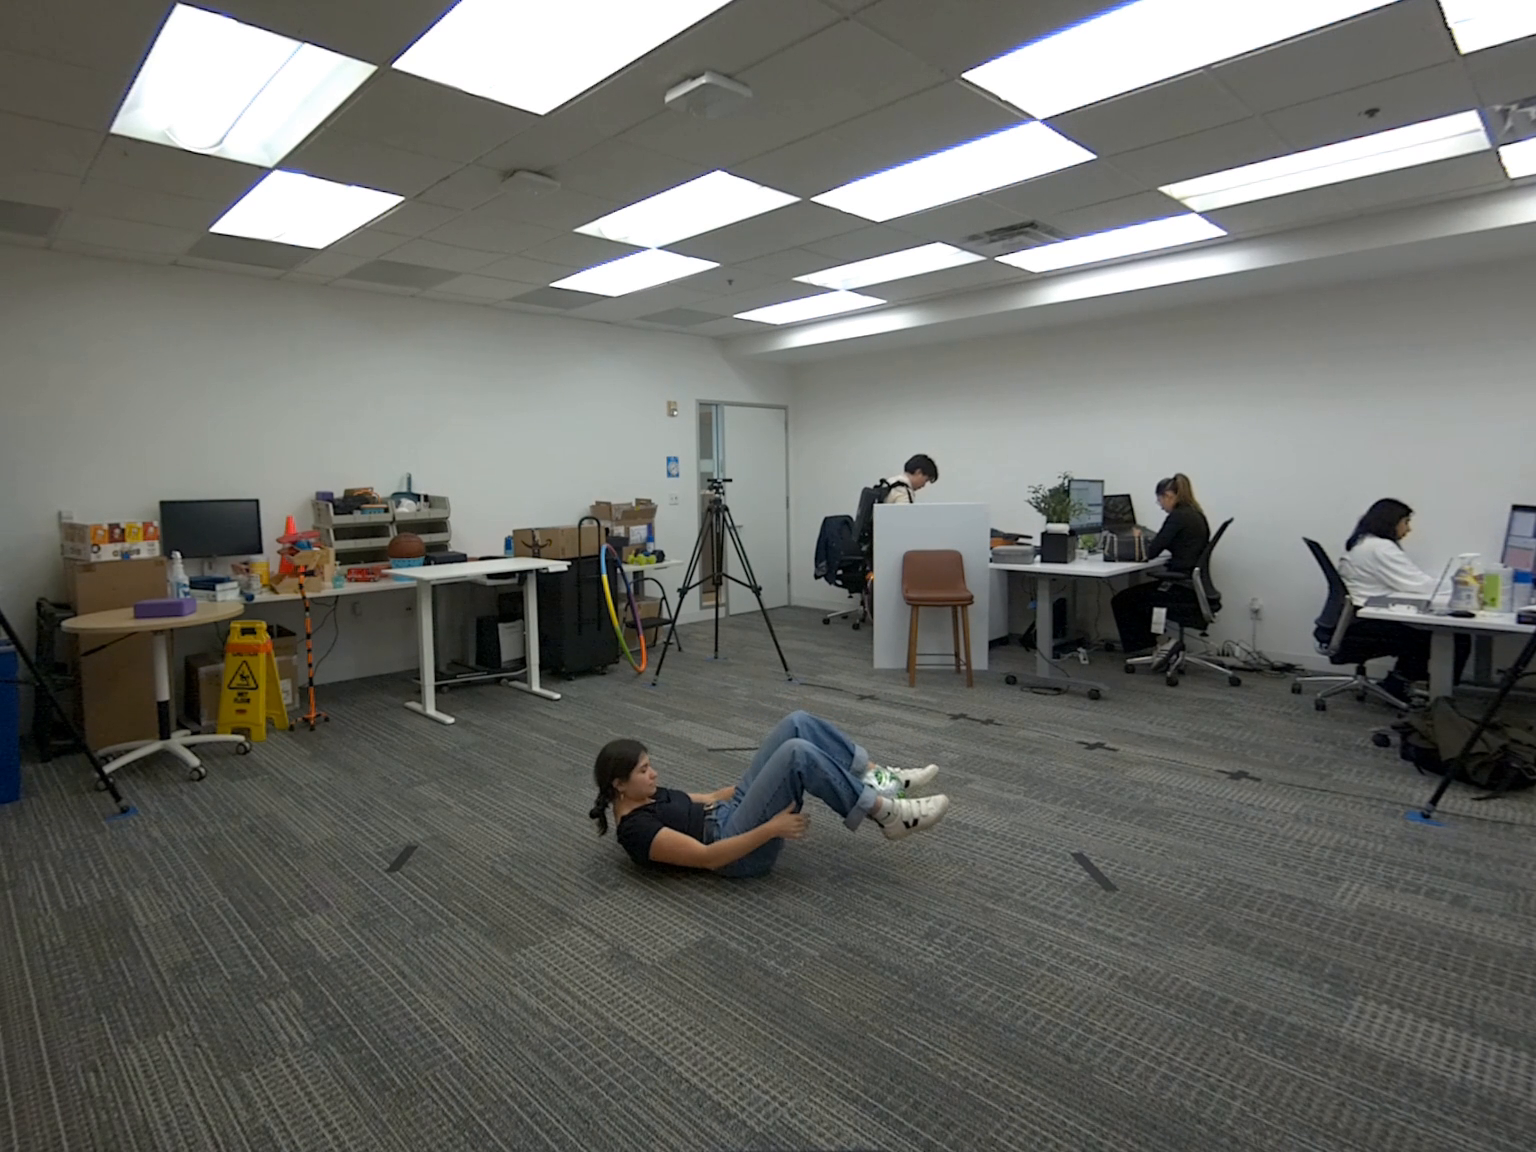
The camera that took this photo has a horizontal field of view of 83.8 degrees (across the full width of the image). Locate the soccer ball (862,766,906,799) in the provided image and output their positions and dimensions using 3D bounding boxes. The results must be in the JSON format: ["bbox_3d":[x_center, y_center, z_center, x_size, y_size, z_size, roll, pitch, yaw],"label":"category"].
[{"bbox_3d":[0.388,0.773,3.073,0.187,0.187,0.188,0,1,-2],"label":"soccer ball"}]
